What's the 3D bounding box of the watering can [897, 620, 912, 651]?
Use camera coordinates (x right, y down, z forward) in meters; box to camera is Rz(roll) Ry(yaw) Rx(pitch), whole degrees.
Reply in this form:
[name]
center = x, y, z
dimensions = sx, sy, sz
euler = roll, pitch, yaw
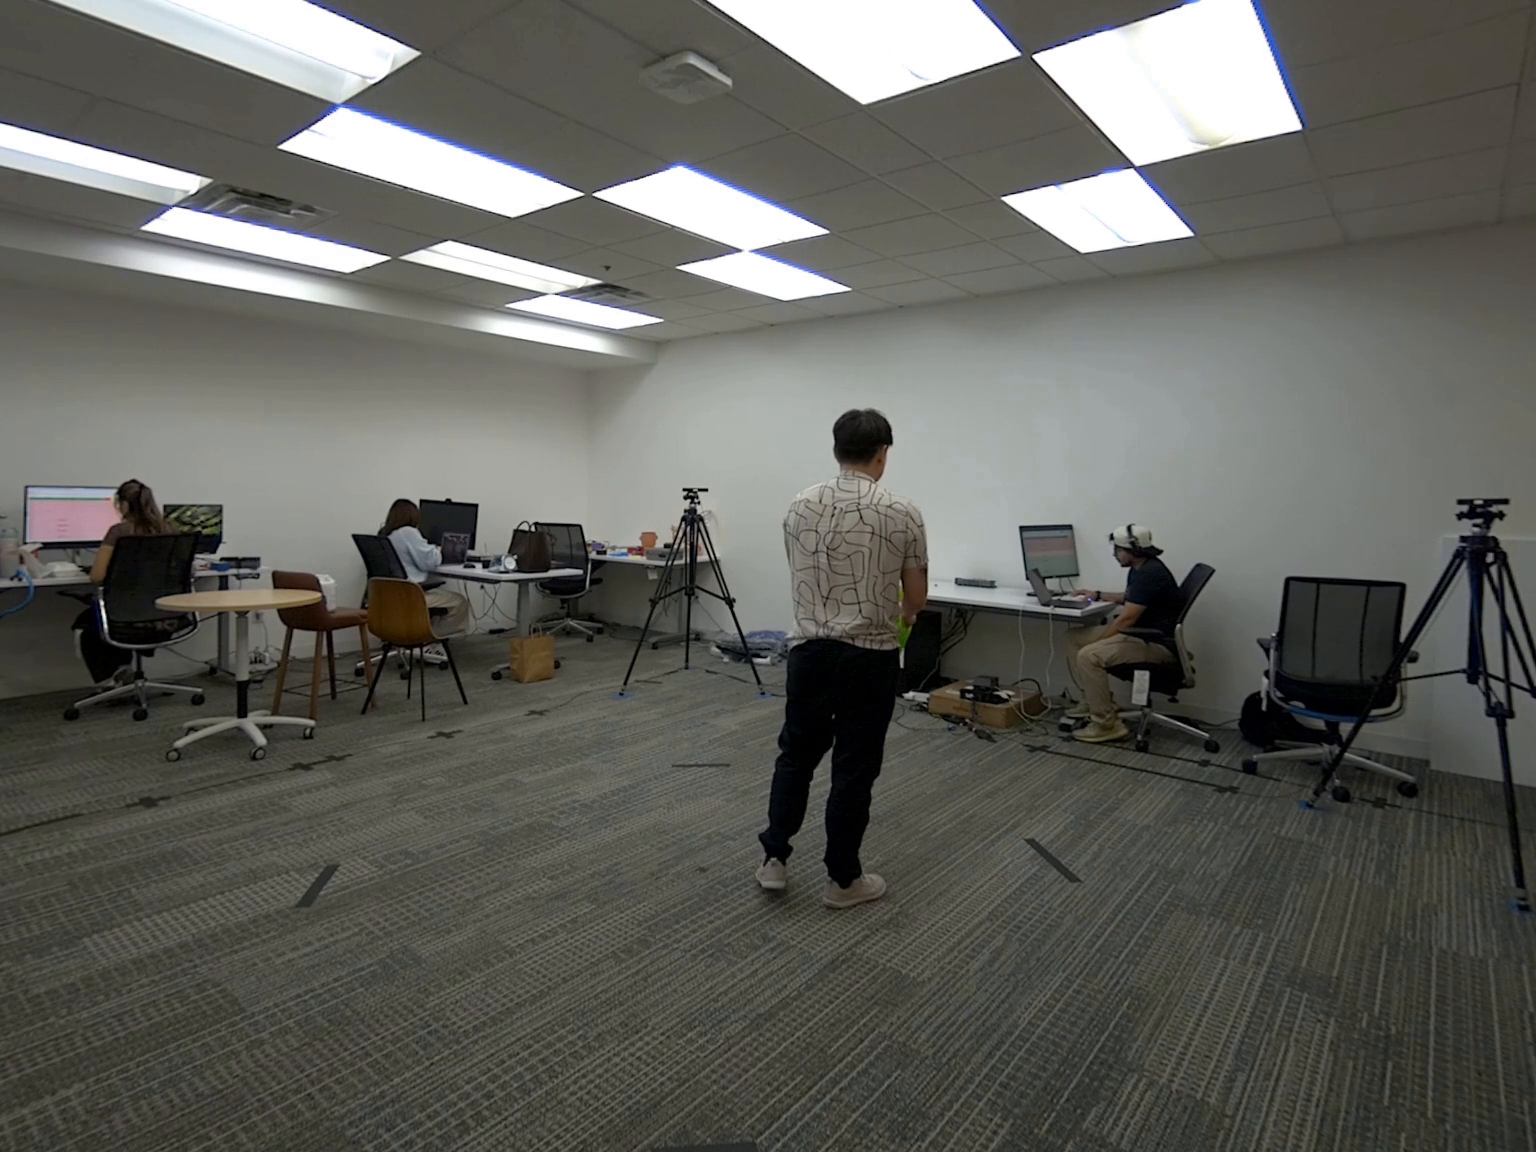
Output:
[watering can]
center = 0.477, 0.167, 3.210
dimensions = 0.099, 0.173, 0.281
euler = 19, 47, 7
